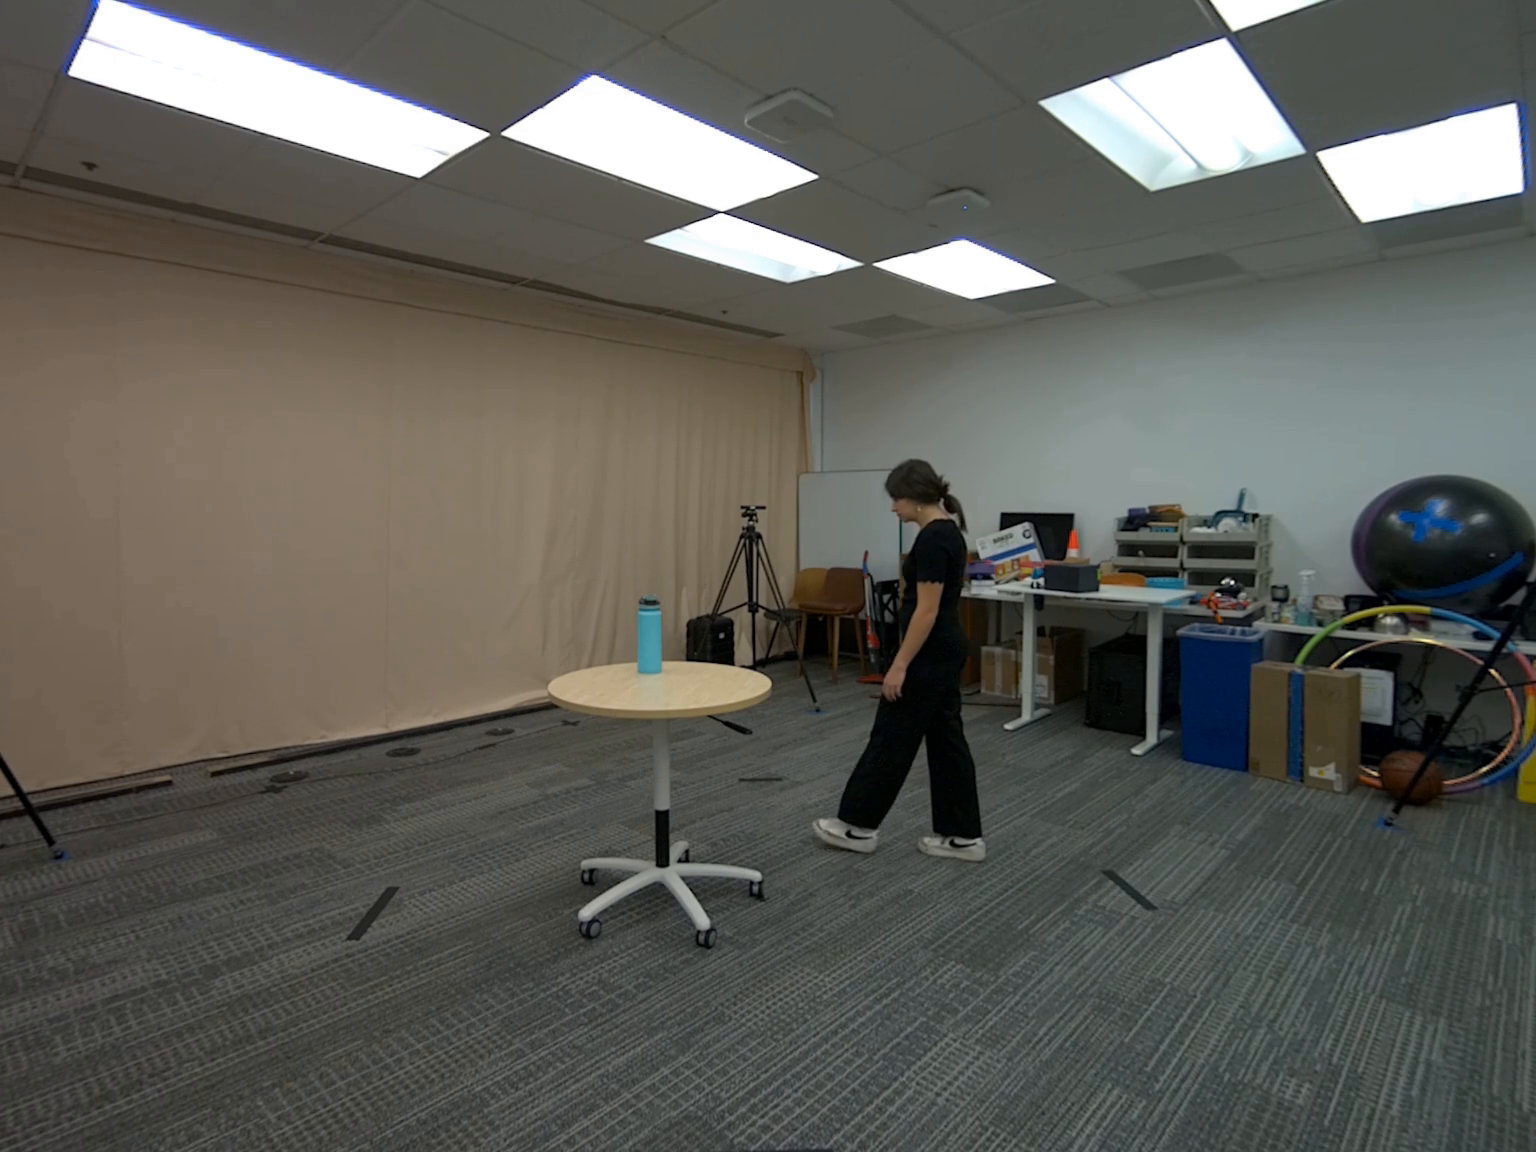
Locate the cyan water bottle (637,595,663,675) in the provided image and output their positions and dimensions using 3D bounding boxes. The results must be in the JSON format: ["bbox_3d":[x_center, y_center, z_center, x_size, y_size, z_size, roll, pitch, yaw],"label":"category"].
[{"bbox_3d":[-0.437,0.213,3.092,0.092,0.283,0.092,1,1,-2],"label":"cyan water bottle"}]
